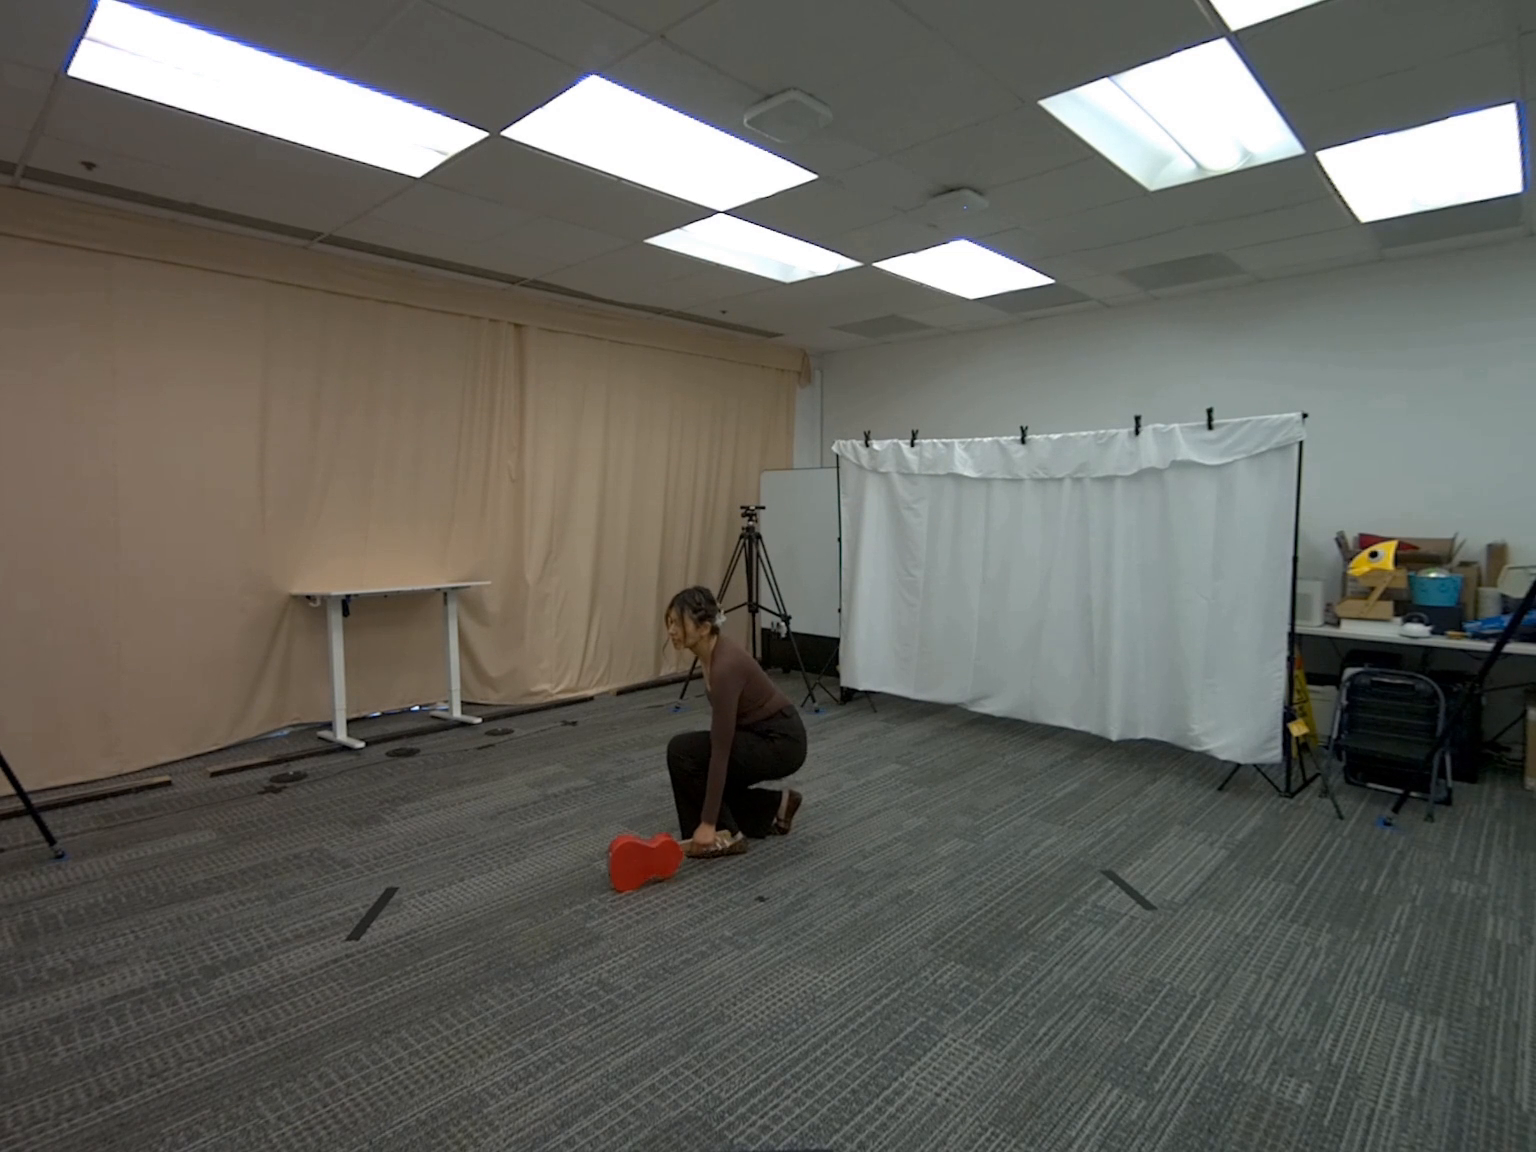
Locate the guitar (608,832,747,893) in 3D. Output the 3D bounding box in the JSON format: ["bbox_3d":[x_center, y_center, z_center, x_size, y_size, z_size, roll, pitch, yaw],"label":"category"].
[{"bbox_3d":[-0.359,0.993,3.135,0.488,0.191,0.073,-13,13,-23],"label":"guitar"}]
